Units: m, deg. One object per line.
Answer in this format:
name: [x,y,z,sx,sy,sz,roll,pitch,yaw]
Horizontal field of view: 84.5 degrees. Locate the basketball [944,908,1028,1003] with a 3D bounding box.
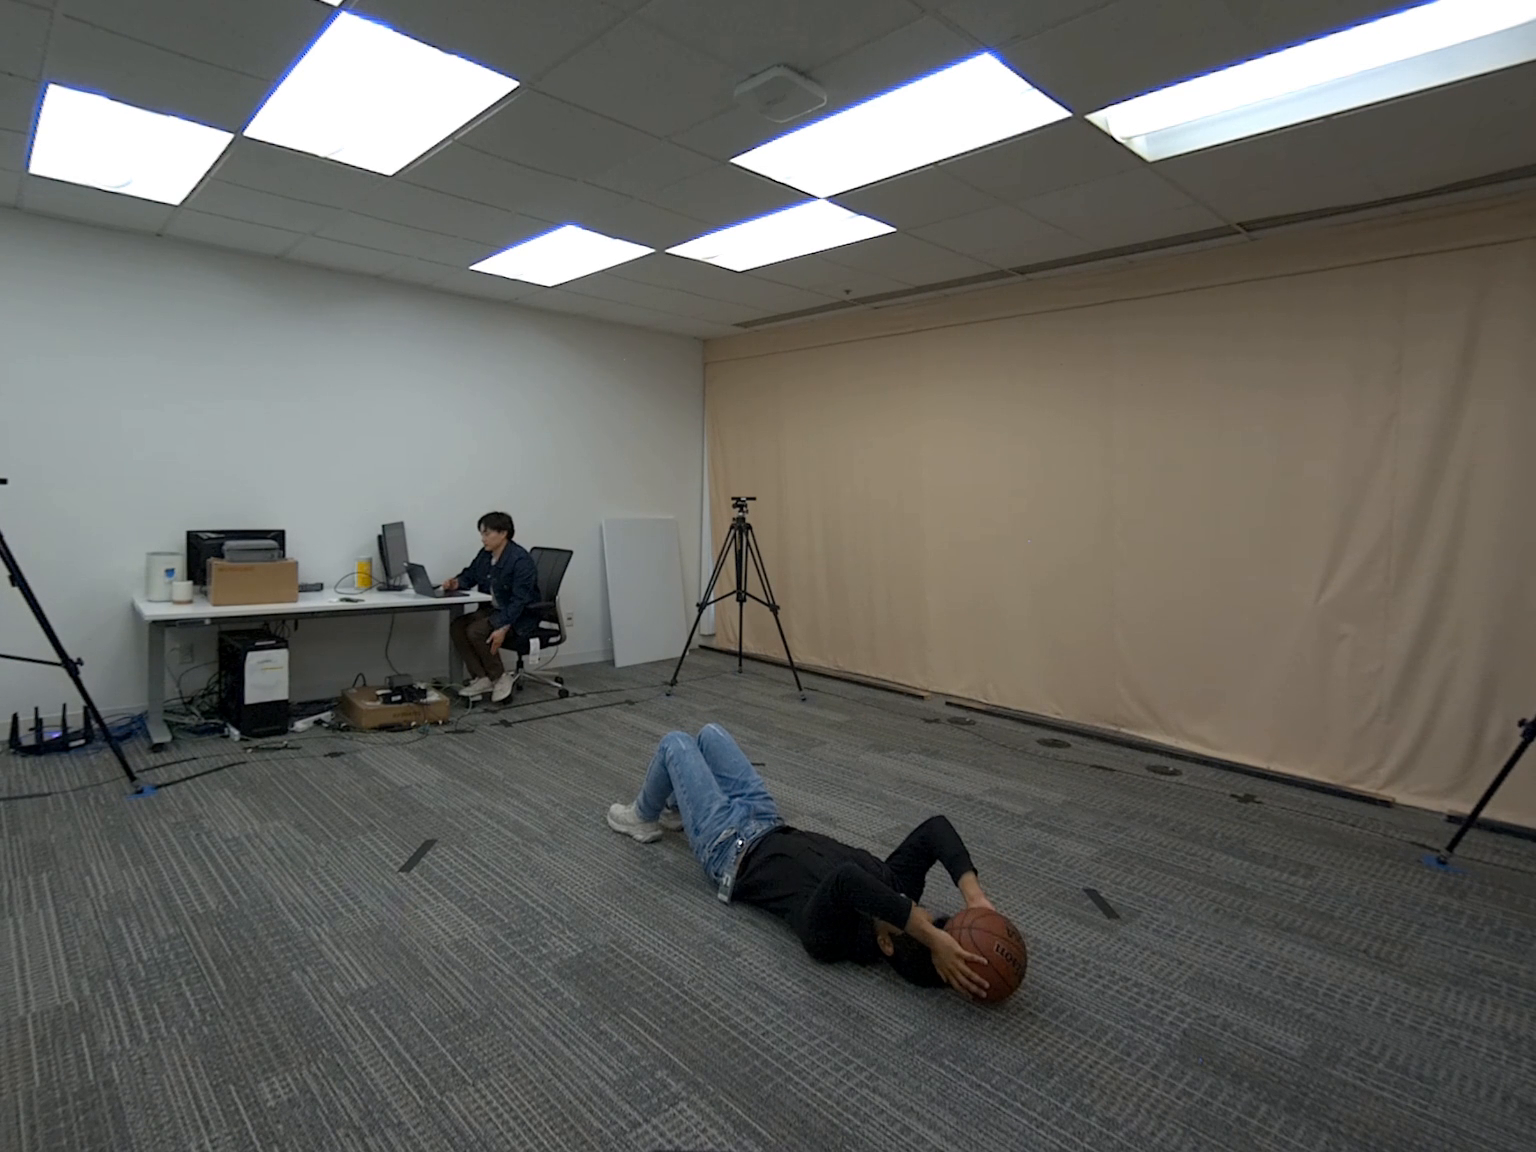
basketball: [0.592,1.058,2.363,0.236,0.235,0.237,1,4,-1]
